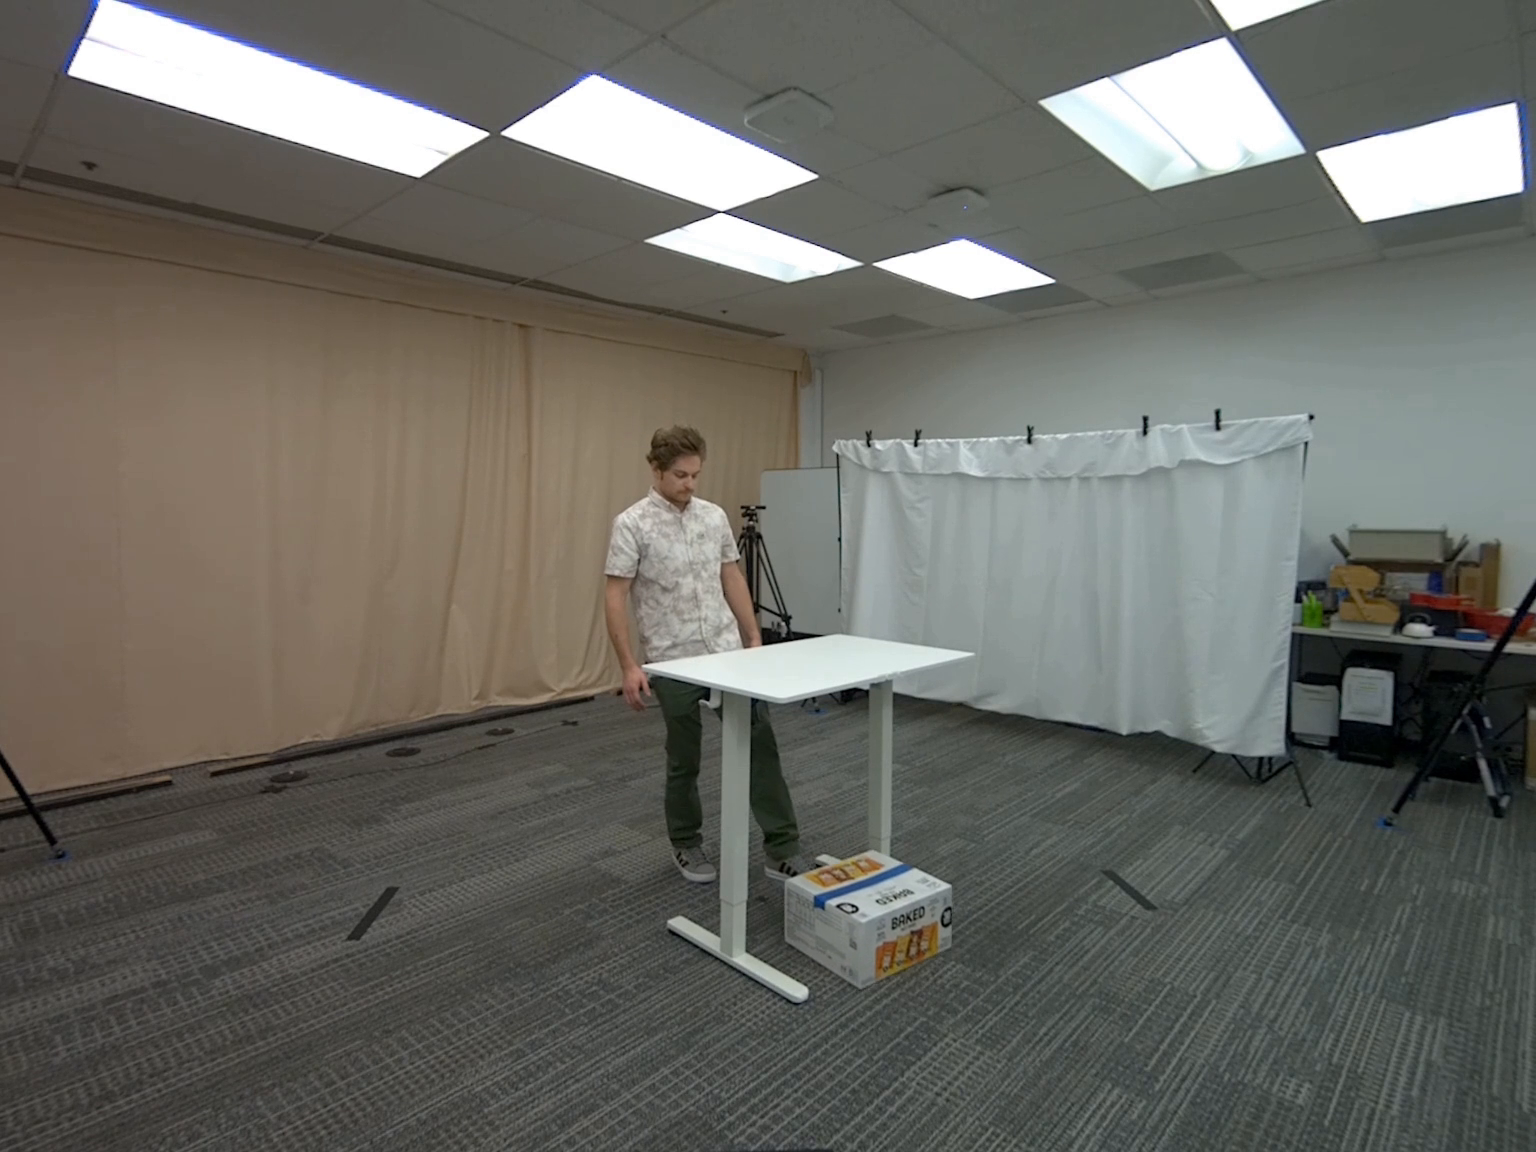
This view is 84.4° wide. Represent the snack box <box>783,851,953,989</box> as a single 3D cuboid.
[{"bbox_3d":[0.324,1.070,2.655,0.393,0.205,0.351,-3,5,-37],"label":"snack box"}]
